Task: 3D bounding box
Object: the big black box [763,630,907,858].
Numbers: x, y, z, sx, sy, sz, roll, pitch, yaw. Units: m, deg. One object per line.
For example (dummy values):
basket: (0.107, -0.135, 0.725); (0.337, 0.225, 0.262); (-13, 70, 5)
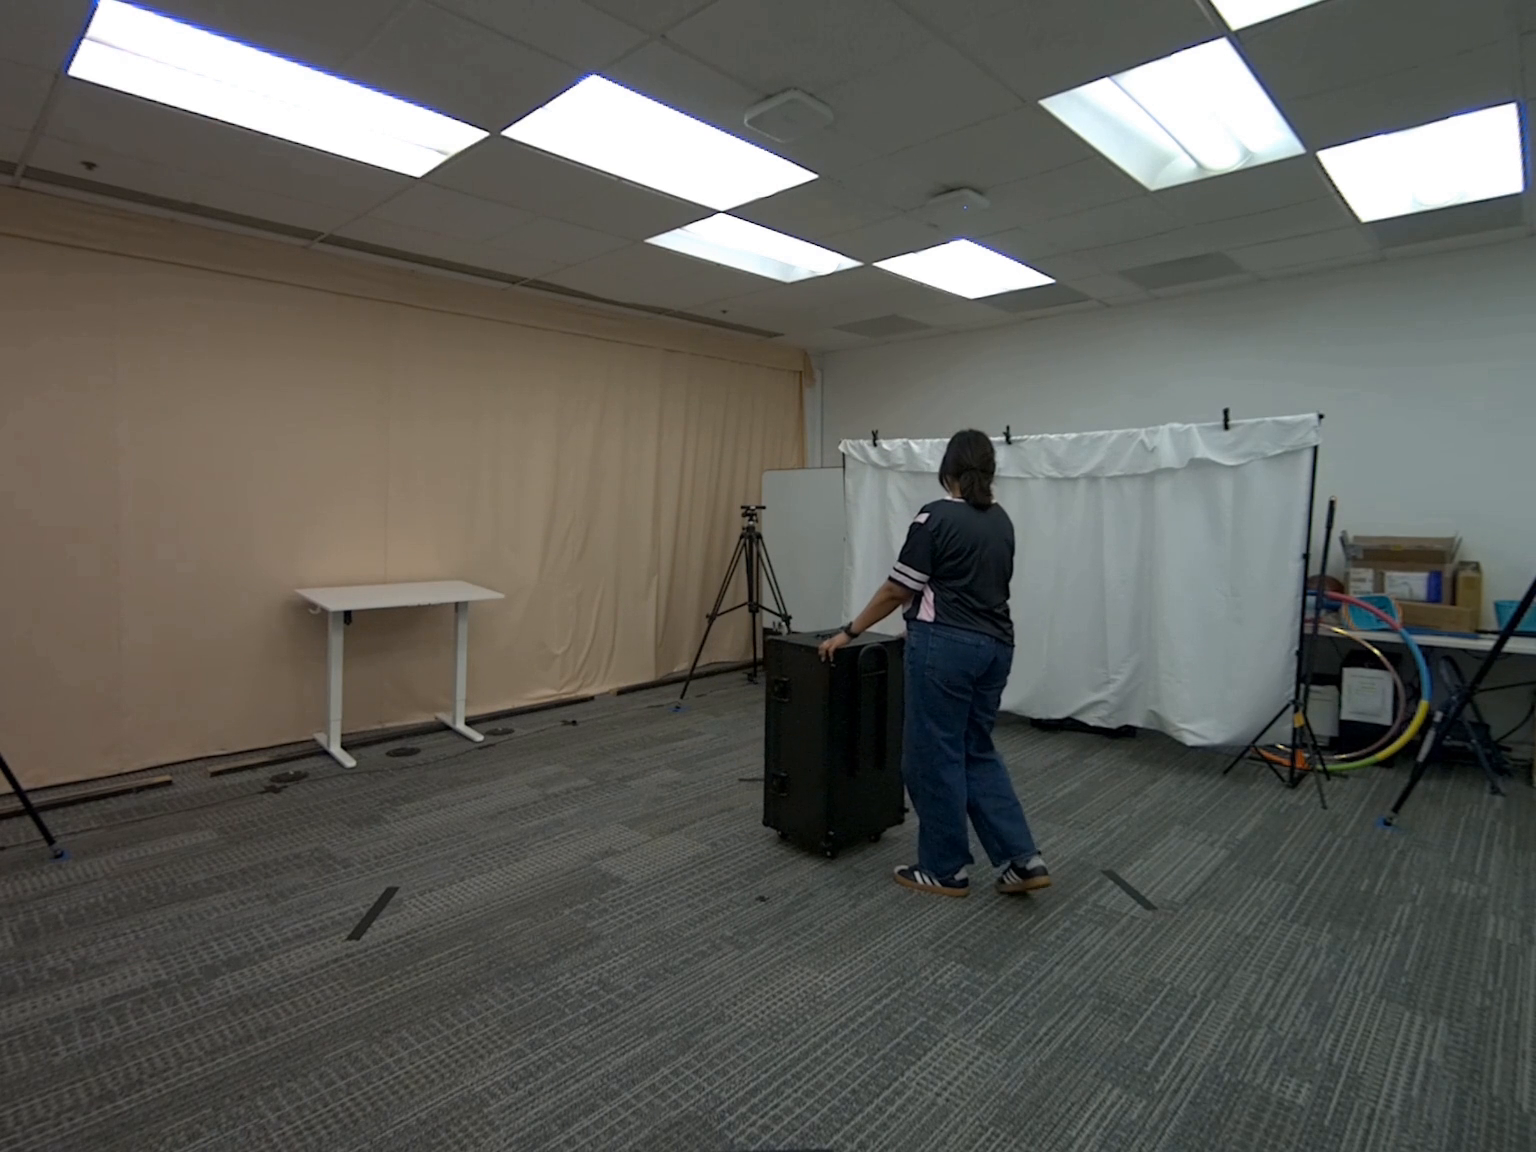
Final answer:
big black box: (0.290, 0.680, 3.486); (0.507, 0.866, 0.398); (-3, 5, -42)
